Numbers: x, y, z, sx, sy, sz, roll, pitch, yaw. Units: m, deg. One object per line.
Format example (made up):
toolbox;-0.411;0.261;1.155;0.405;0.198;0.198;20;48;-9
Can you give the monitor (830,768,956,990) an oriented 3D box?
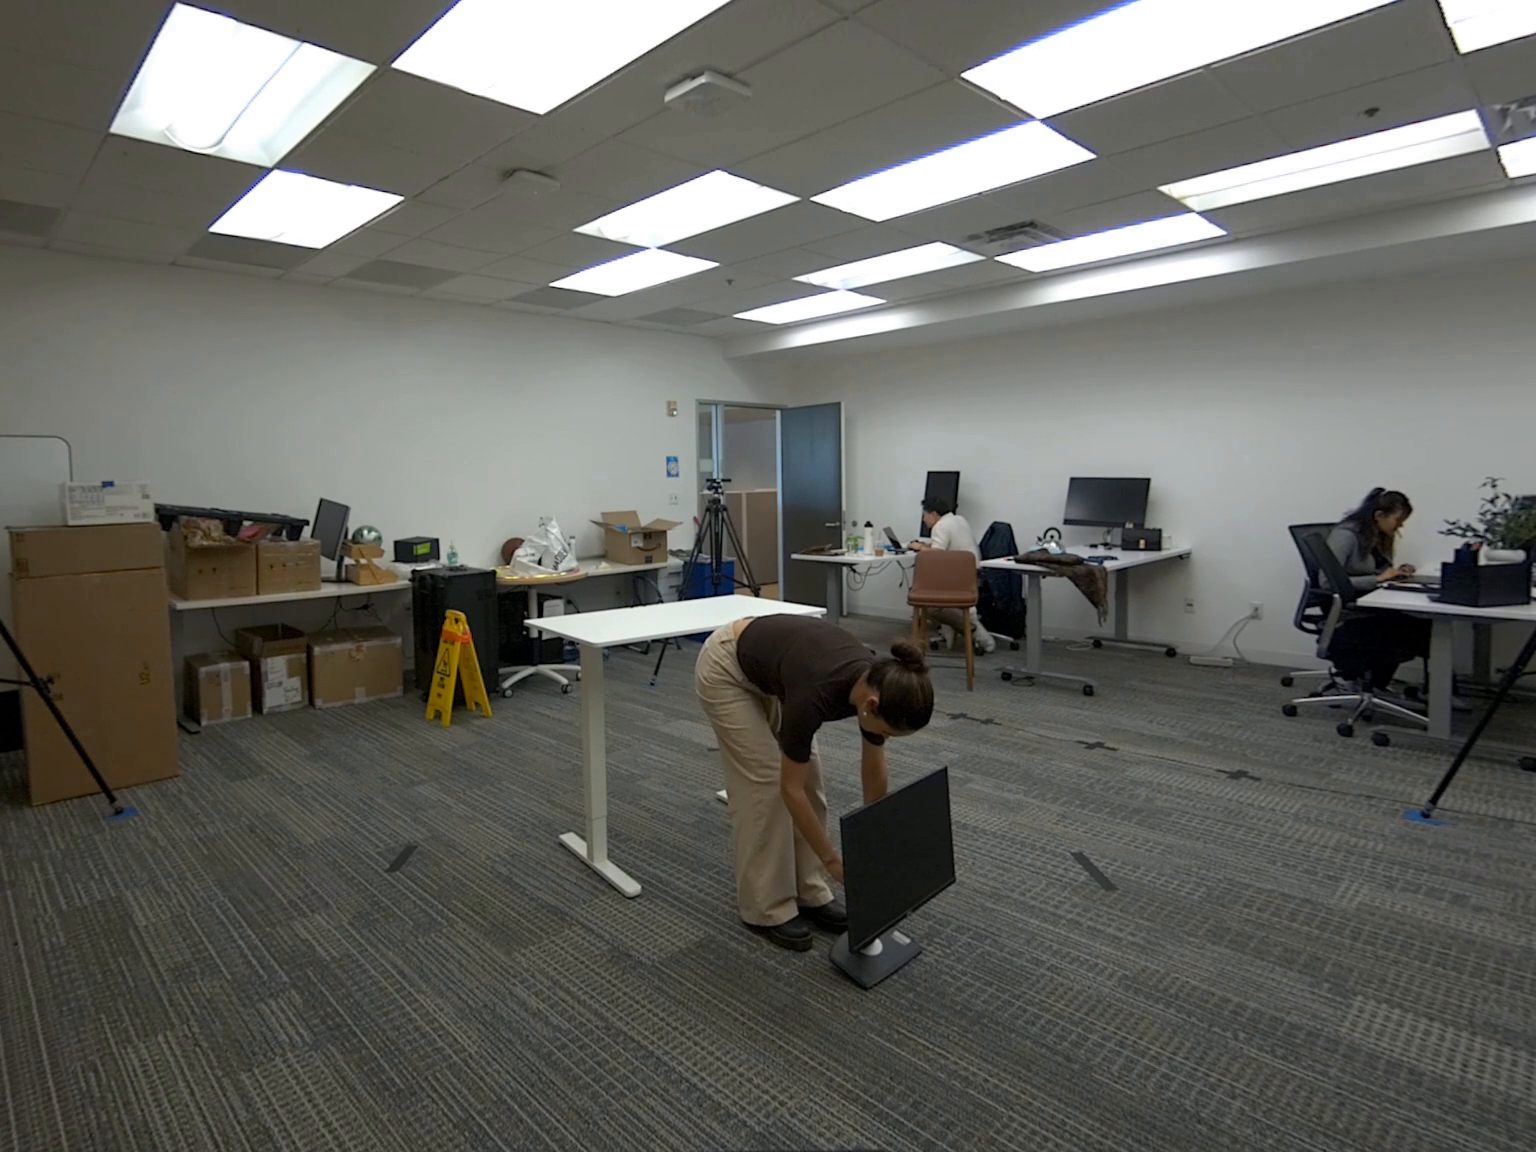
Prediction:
monitor;0.334;0.852;2.424;0.193;0.518;0.525;15;14;39
